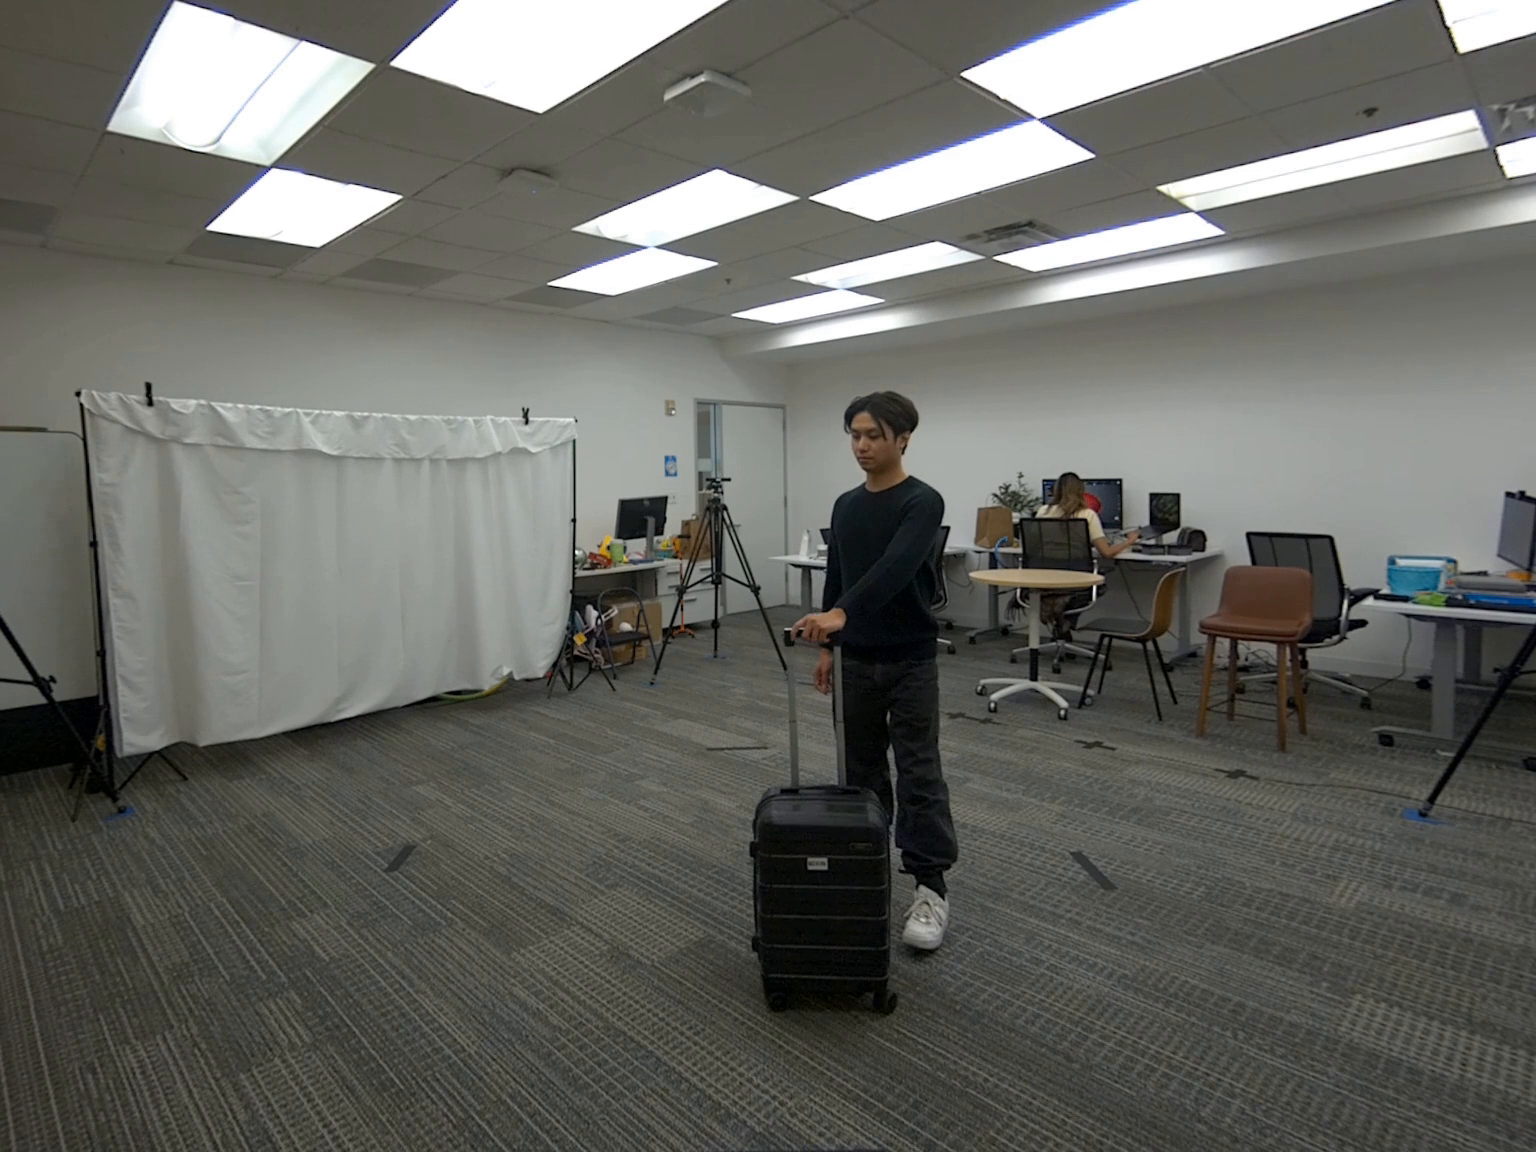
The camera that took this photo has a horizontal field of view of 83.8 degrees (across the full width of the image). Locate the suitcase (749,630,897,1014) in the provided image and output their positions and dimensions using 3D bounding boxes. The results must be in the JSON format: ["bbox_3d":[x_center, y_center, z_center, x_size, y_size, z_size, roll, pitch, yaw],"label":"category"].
[{"bbox_3d":[0.142,0.654,2.299,0.386,0.973,0.257,-2,6,6],"label":"suitcase"}]
